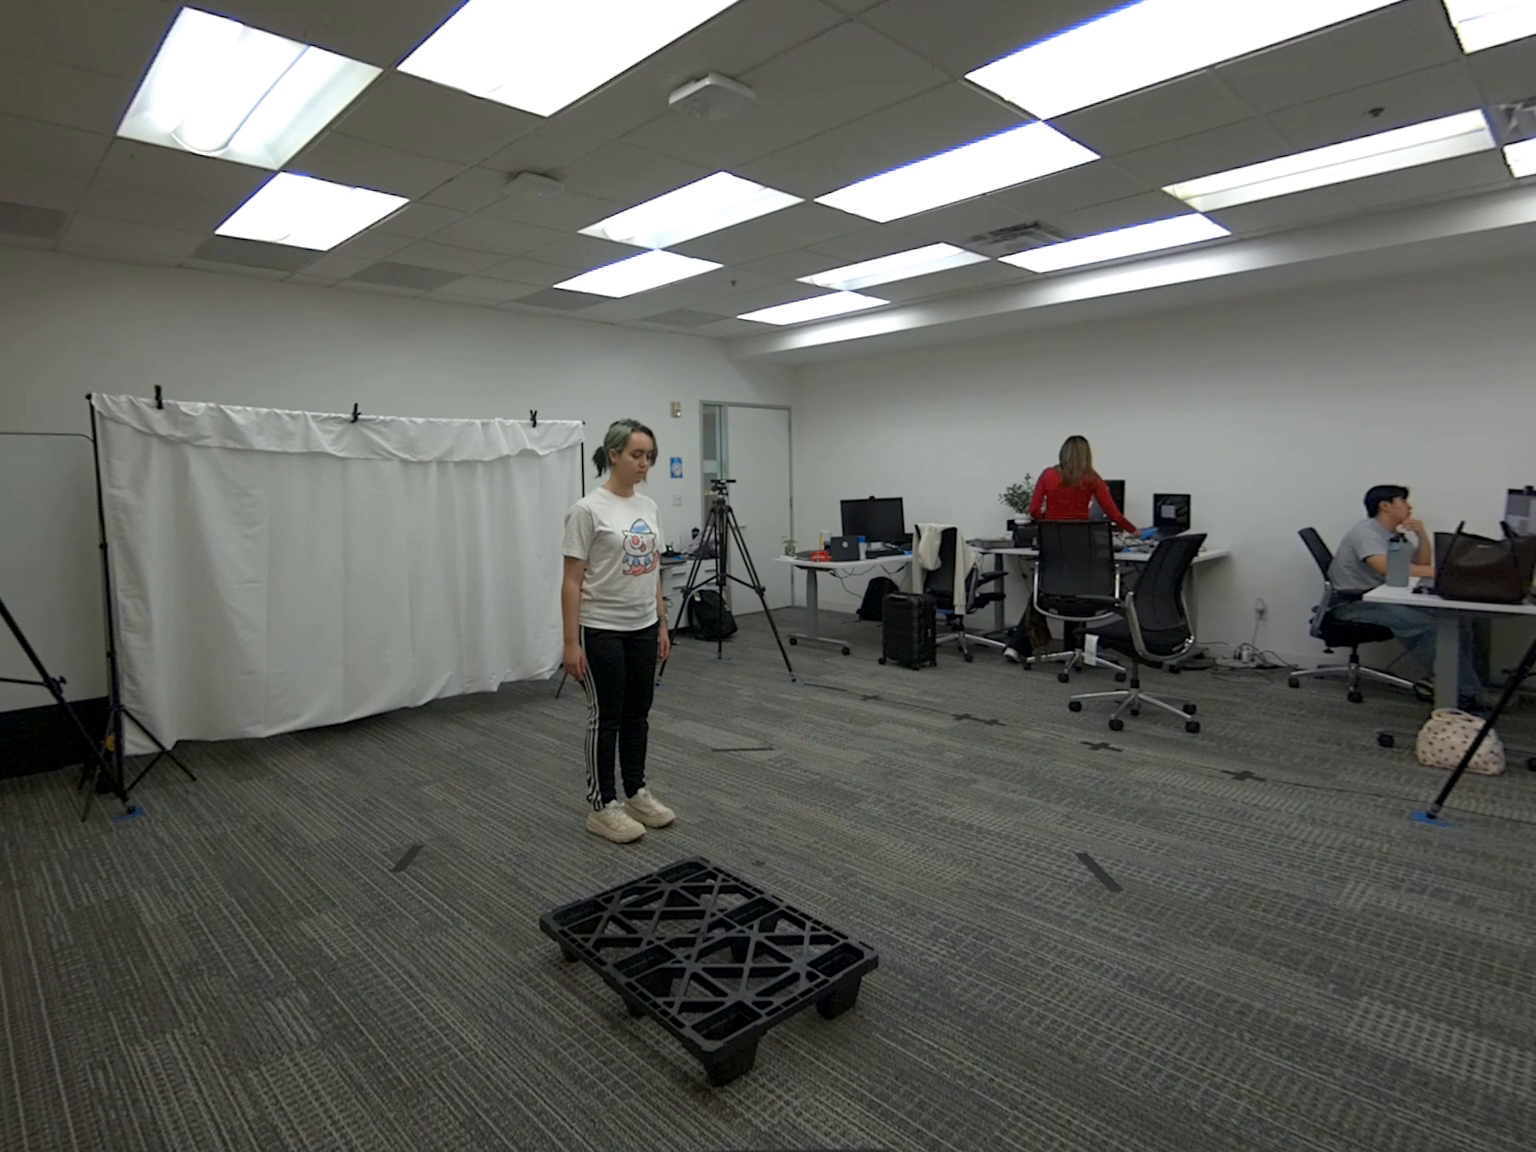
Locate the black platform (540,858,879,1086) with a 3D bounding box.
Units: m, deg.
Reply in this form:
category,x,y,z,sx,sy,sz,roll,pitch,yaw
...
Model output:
category,x,y,z,sx,sy,sz,roll,pitch,yaw
black platform,-0.180,1.066,2.398,0.589,0.142,0.831,-6,9,-41
